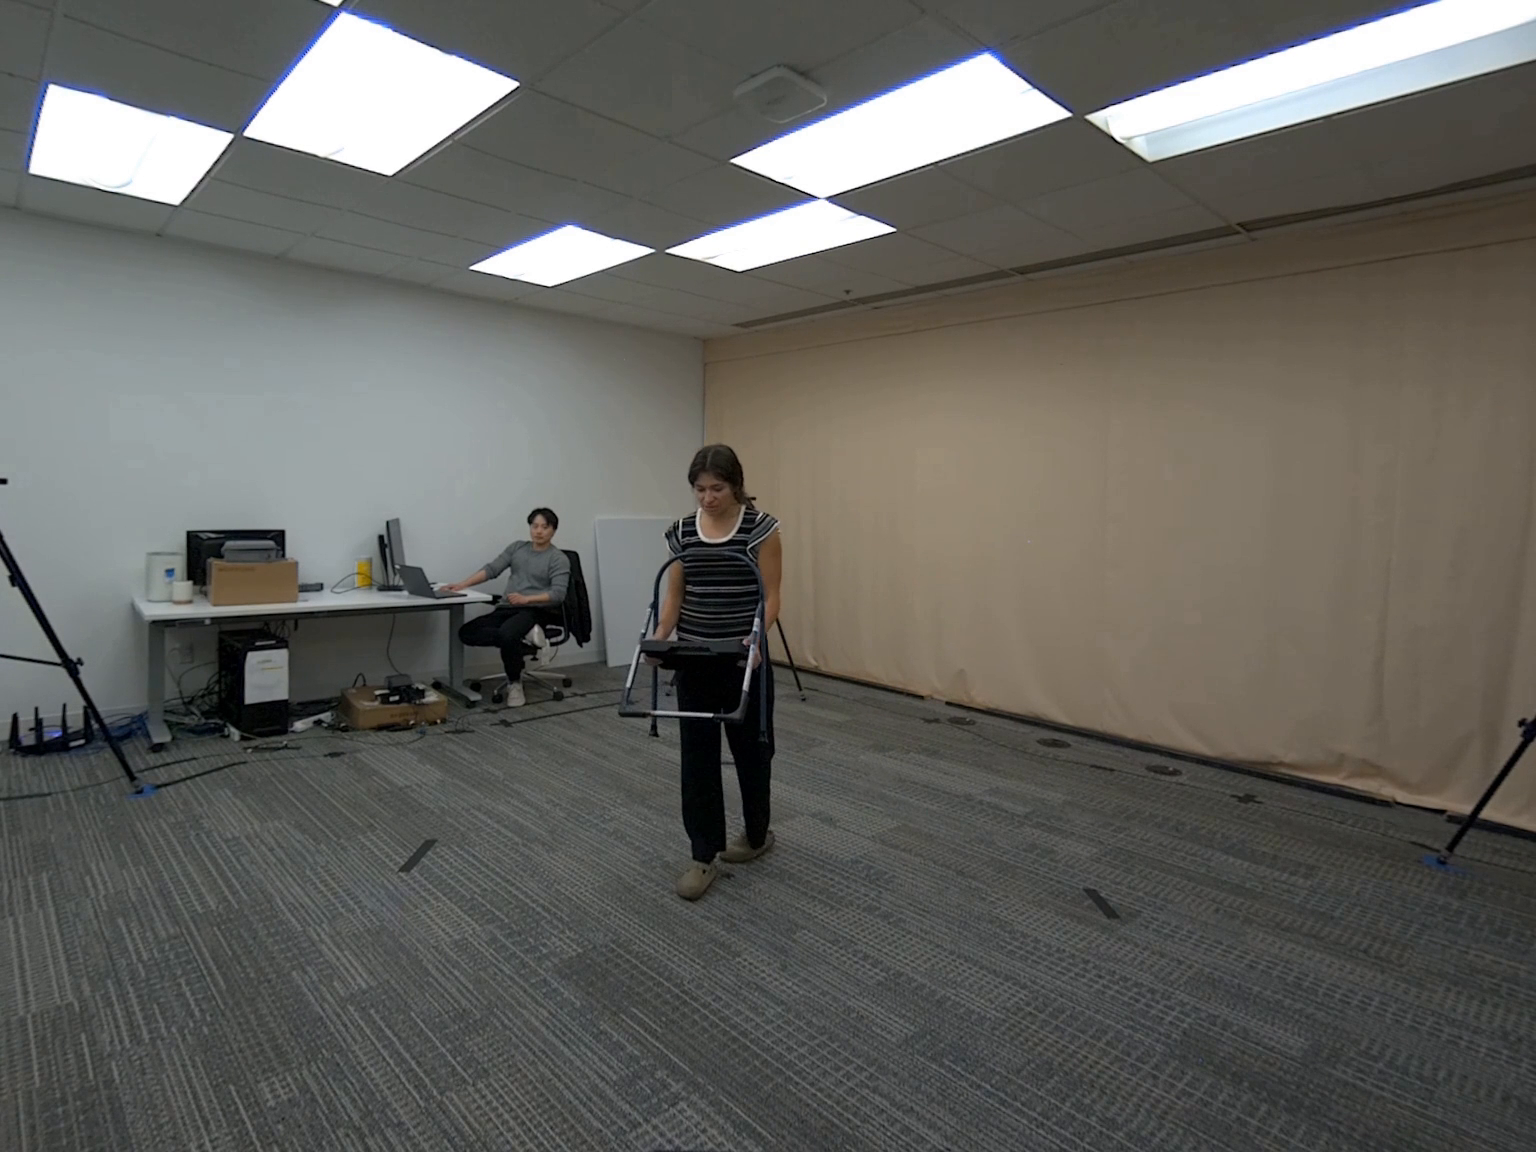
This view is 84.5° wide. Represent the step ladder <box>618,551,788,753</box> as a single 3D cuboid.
[{"bbox_3d":[-0.228,0.227,2.886,0.436,0.614,0.340,-1,-23,15],"label":"step ladder"}]
